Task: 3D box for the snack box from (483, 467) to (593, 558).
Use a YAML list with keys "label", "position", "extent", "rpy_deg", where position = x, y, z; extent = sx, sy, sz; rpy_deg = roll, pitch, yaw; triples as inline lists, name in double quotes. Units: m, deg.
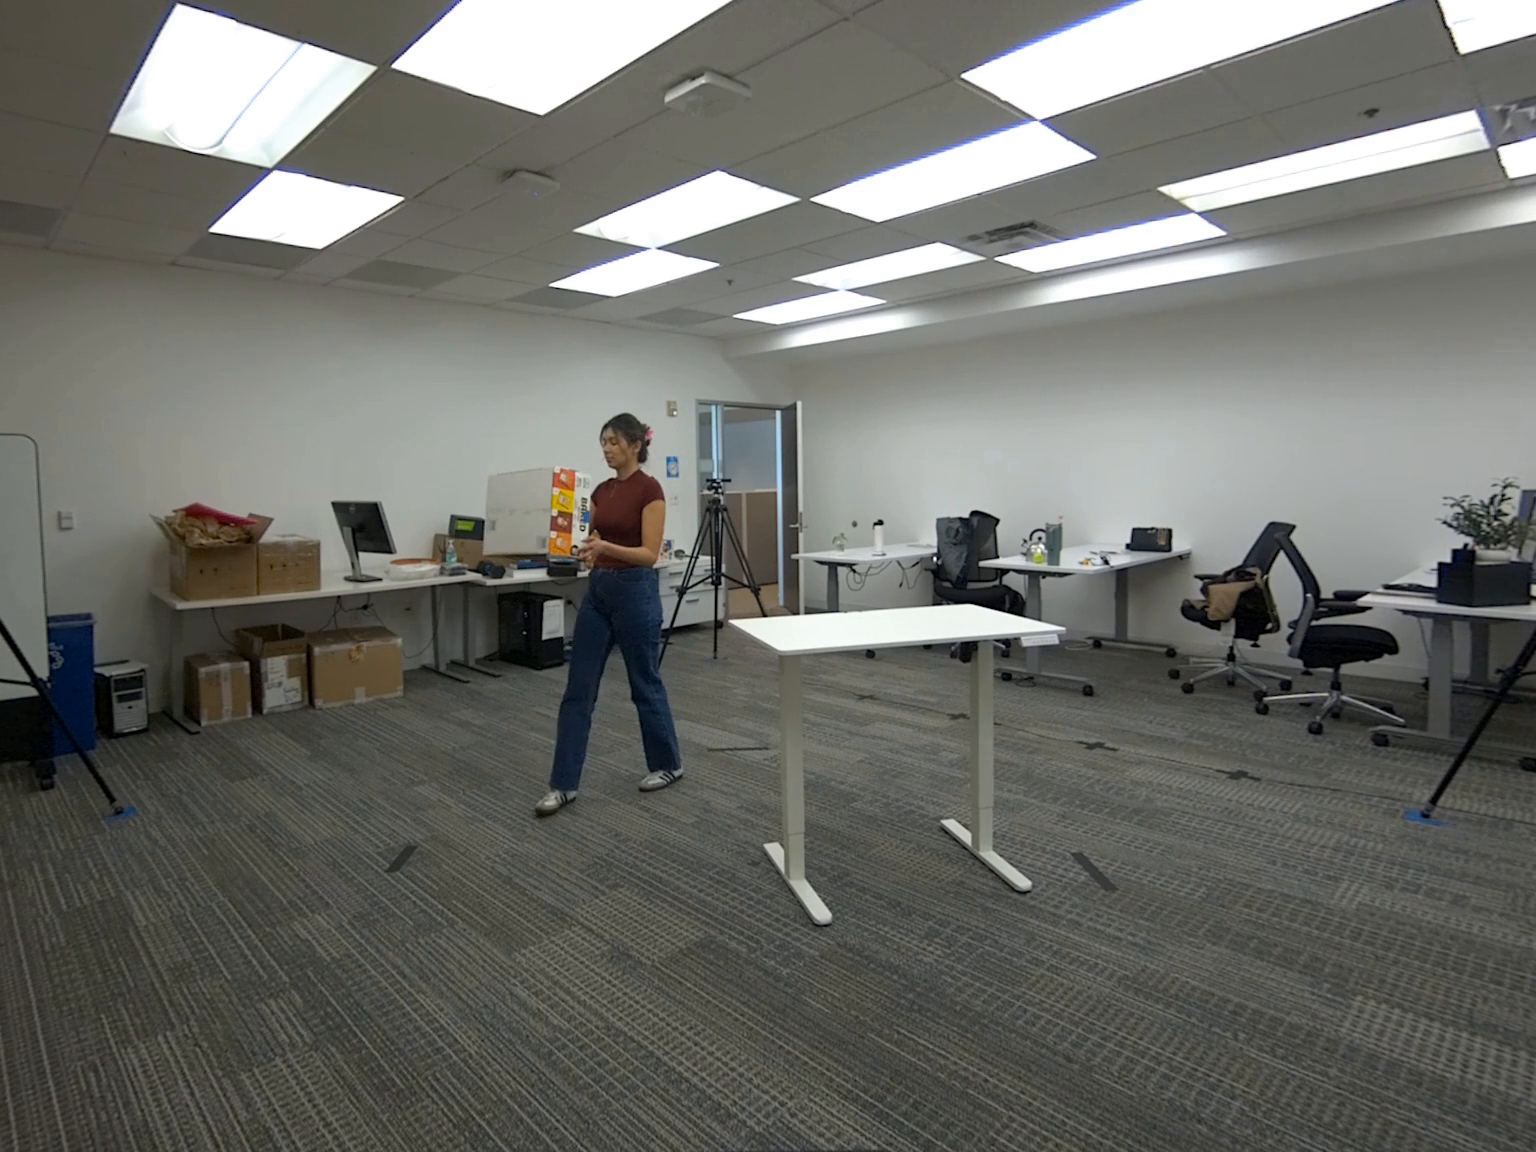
- label: "snack box"
  position: [-0.936, -0.245, 3.438]
  extent: [0.416, 0.342, 0.199]
  rpy_deg: [-2, -7, 36]
